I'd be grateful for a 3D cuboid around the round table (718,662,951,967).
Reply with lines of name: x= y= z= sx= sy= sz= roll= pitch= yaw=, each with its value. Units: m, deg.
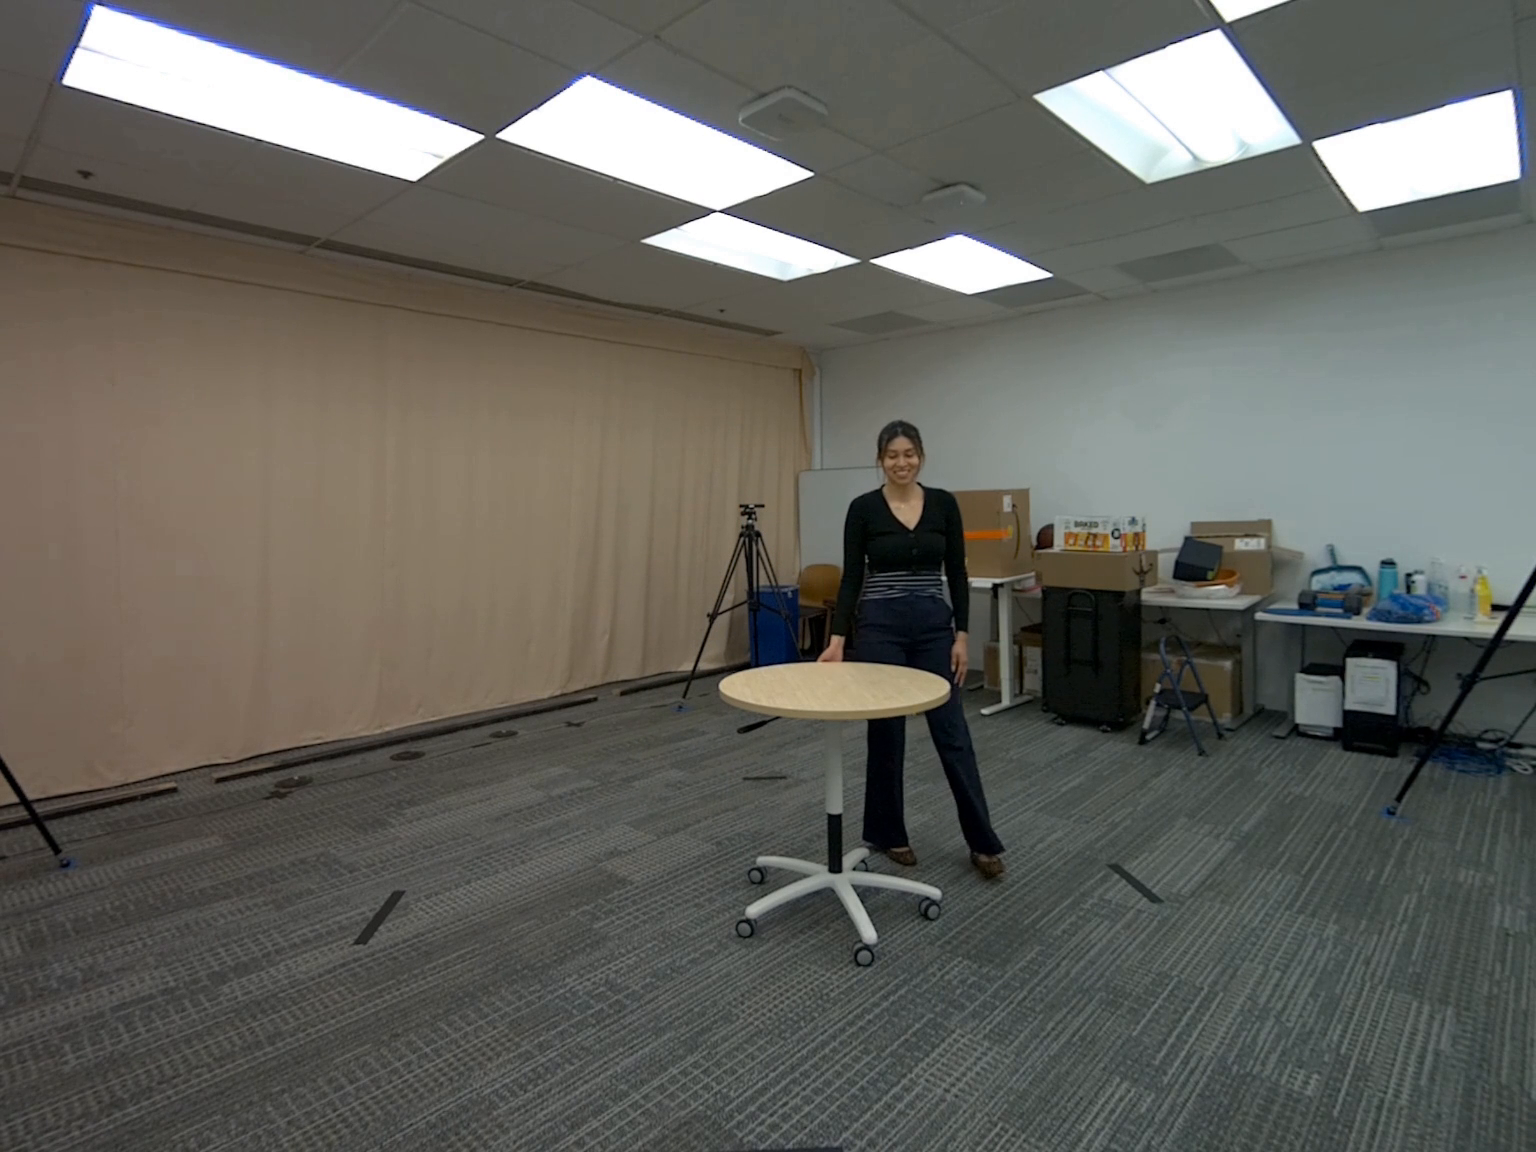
round table: x=0.225 y=0.755 z=2.854 sx=0.763 sy=0.792 sz=0.767 roll=-1 pitch=4 yaw=-2
